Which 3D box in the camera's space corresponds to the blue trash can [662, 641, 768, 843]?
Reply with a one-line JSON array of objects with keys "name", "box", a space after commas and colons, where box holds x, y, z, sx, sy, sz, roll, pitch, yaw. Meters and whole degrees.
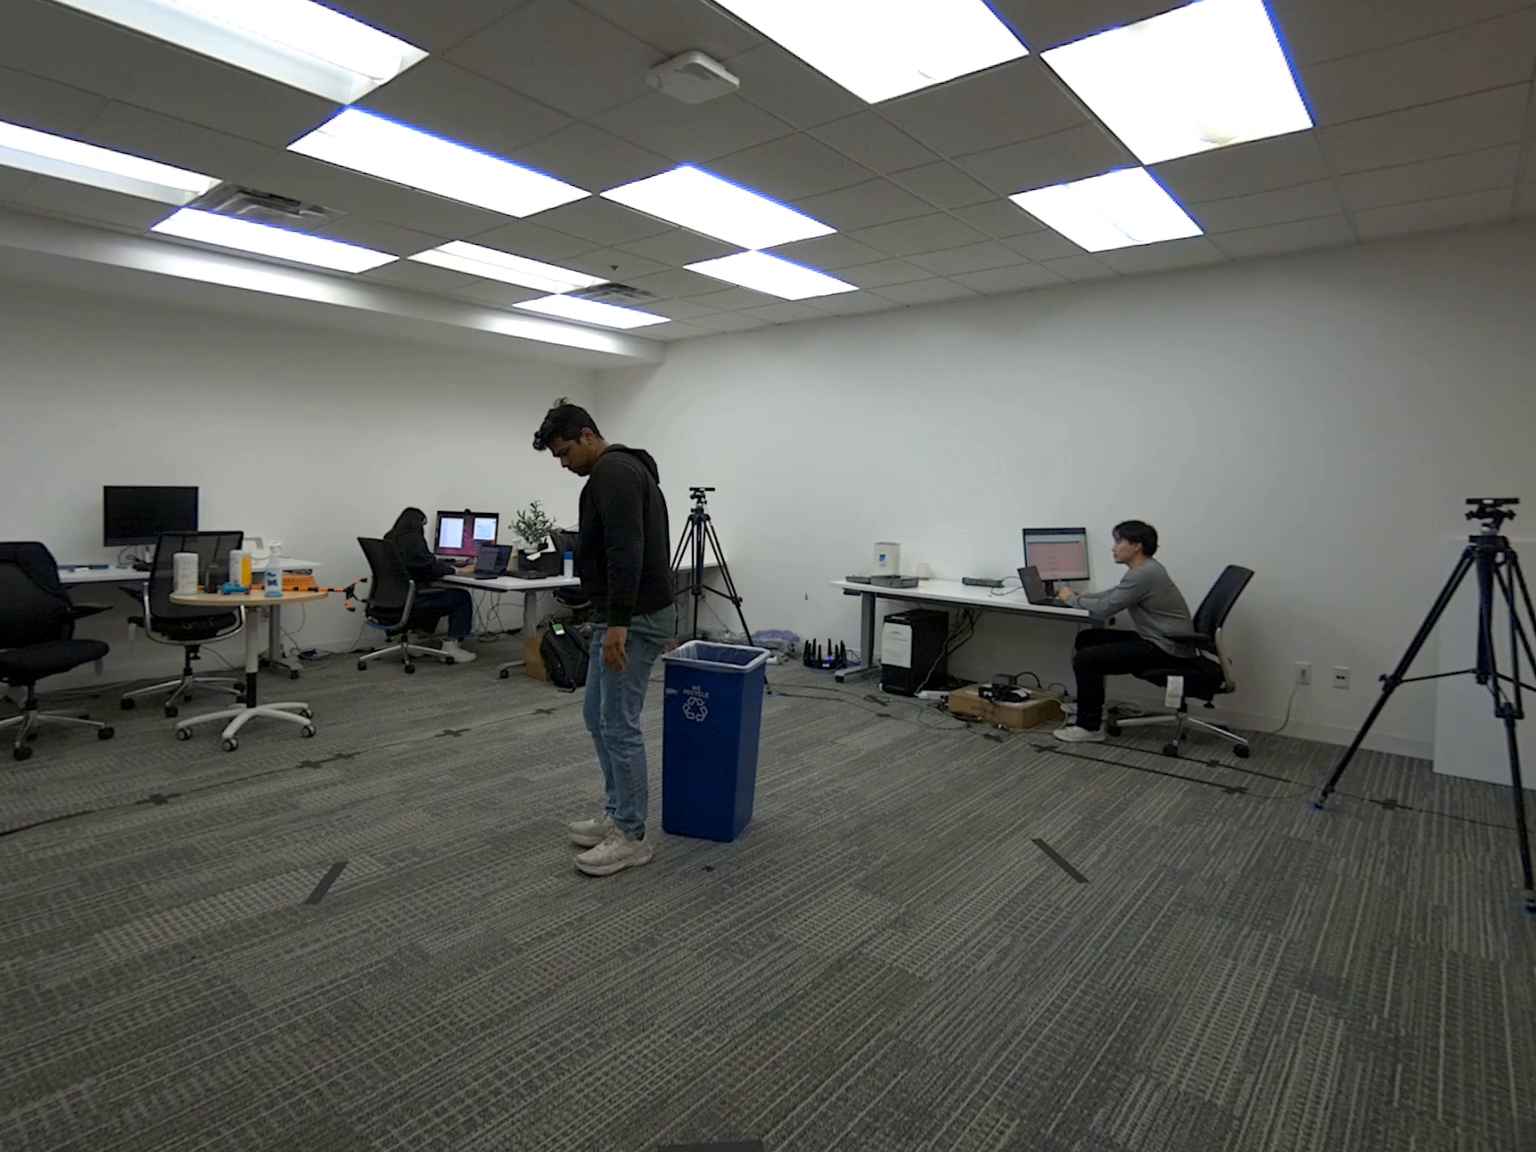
[{"name": "blue trash can", "box": [-0.238, 0.663, 3.489, 0.385, 0.711, 0.368, 4, 4, 17]}]
